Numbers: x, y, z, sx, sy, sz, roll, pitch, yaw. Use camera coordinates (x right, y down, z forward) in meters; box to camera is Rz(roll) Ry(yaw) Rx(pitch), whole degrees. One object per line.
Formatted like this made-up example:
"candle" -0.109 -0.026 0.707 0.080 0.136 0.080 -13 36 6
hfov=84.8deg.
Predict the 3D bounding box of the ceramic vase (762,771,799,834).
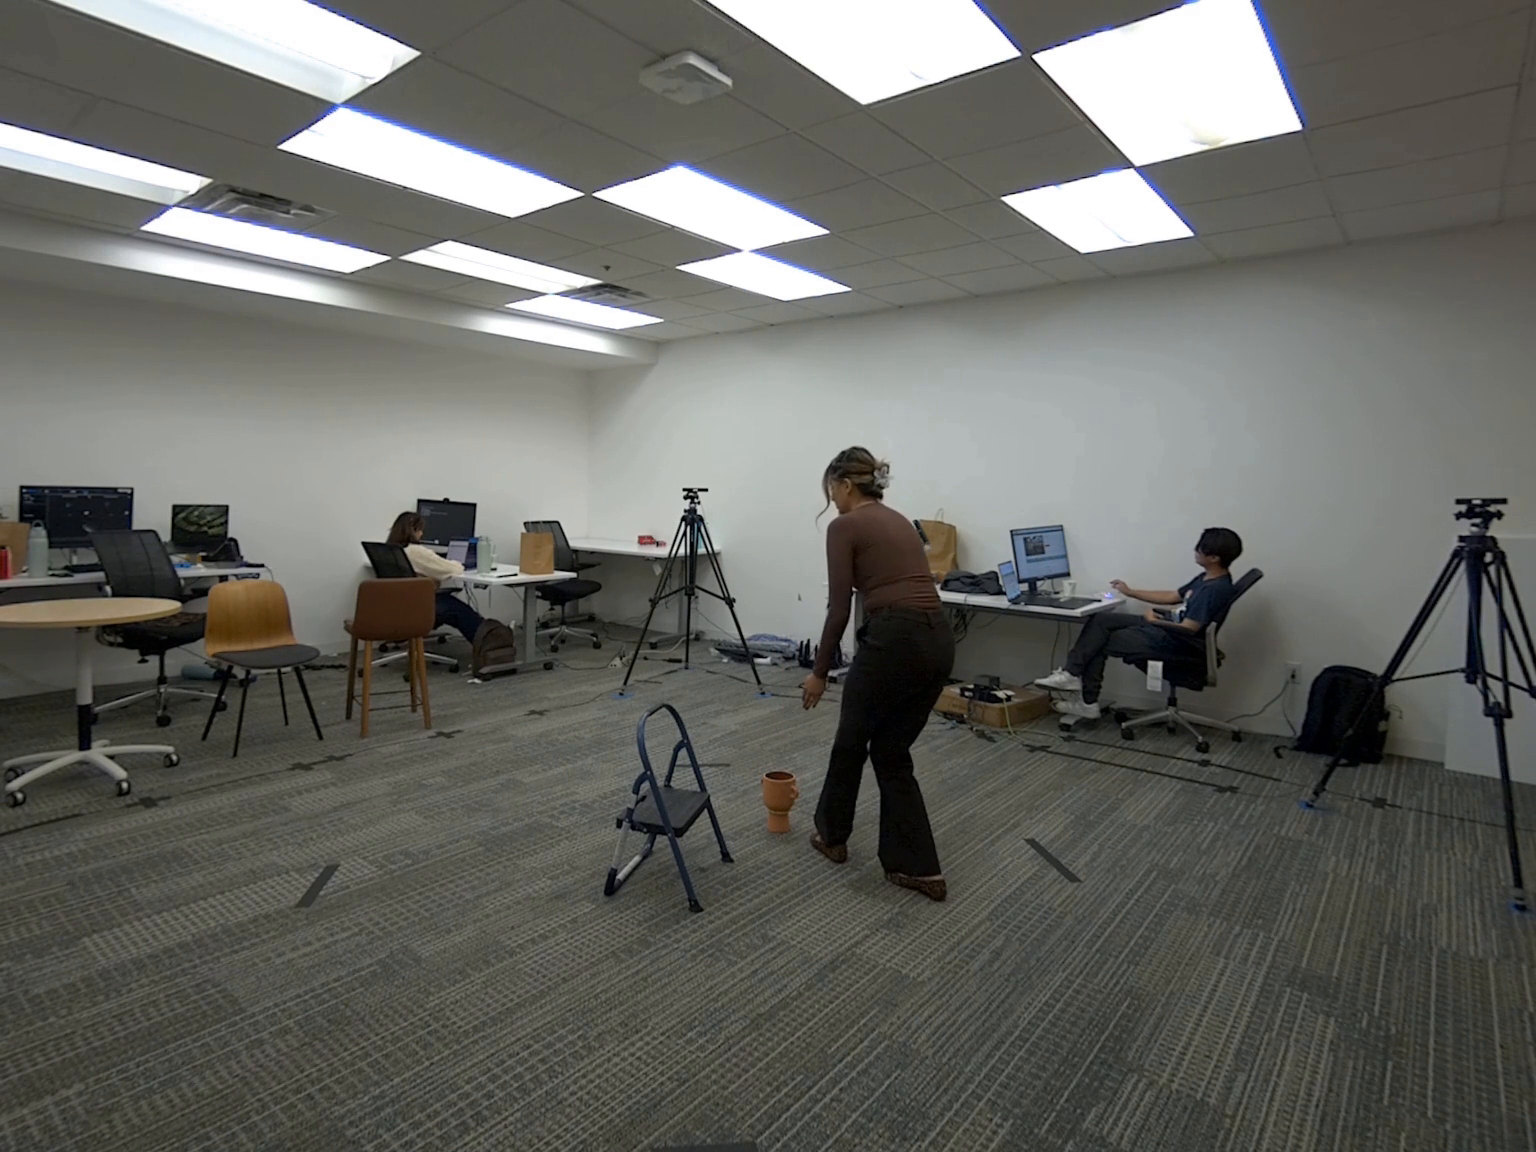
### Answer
"ceramic vase" 0.037 0.923 3.498 0.133 0.219 0.161 1 4 -8
